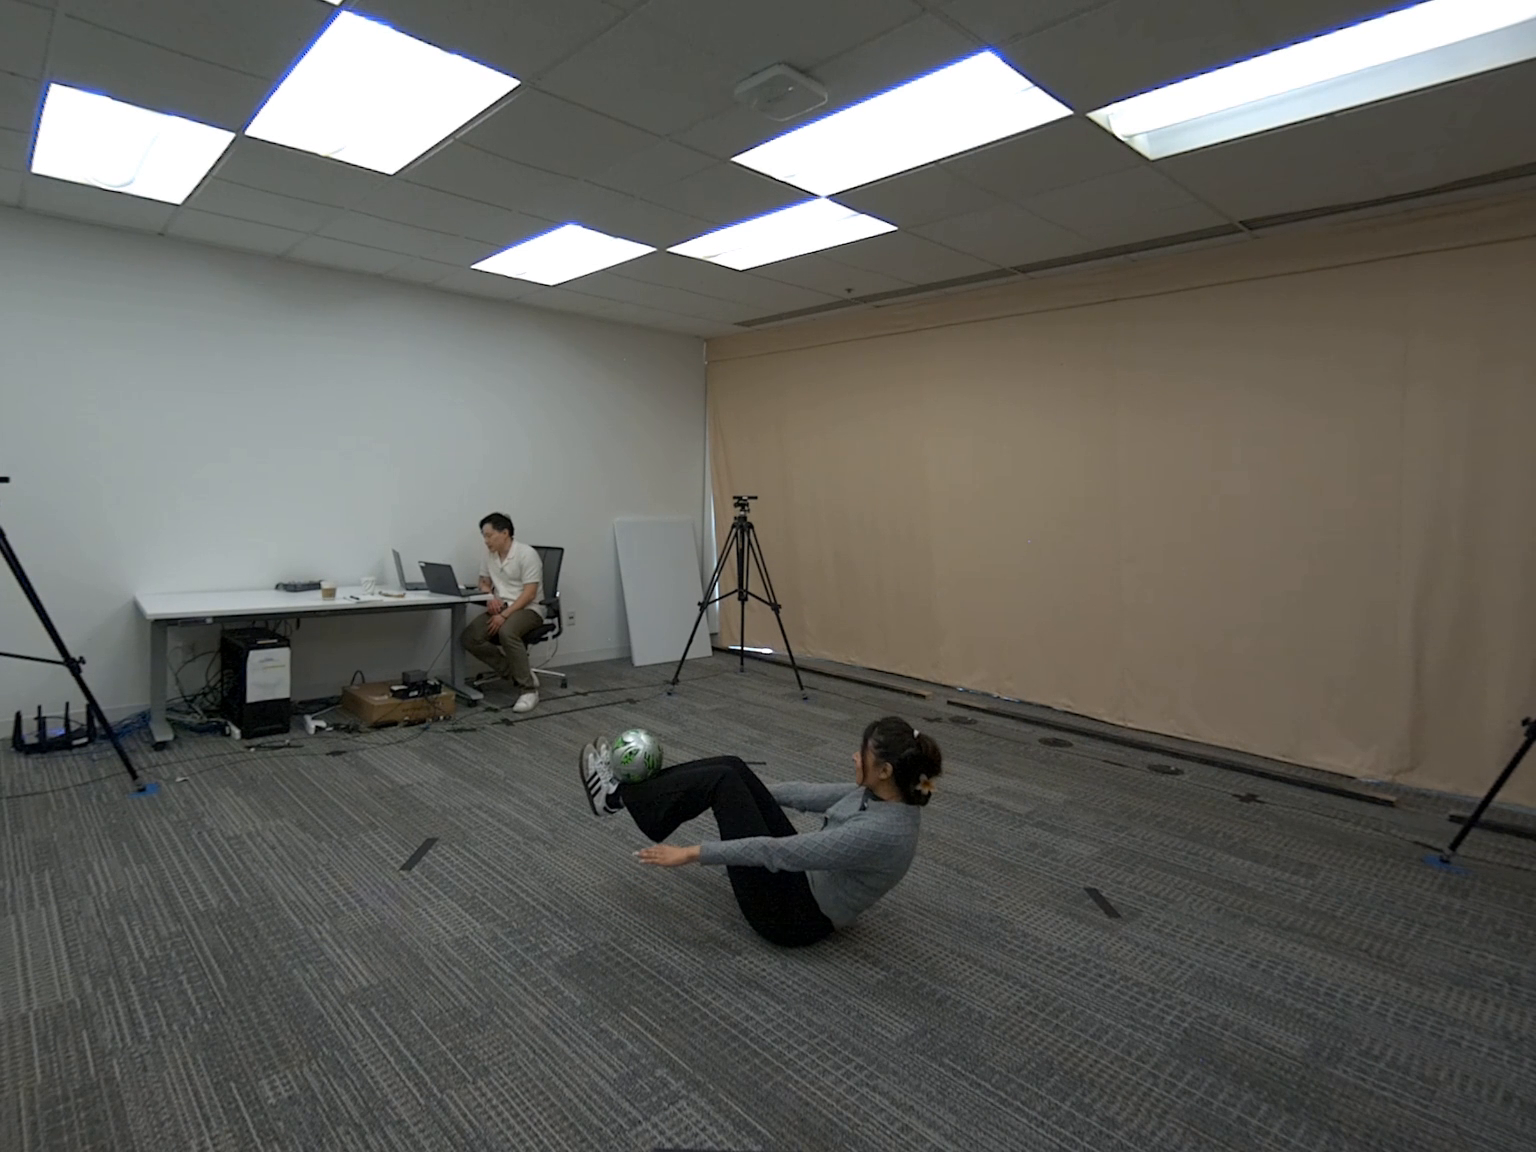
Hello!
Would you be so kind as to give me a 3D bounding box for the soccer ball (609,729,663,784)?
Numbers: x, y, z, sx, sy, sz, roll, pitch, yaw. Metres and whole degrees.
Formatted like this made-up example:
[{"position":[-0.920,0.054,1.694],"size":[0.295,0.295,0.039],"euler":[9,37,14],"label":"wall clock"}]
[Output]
[{"position":[-0.466,0.628,2.901],"size":[0.187,0.187,0.188],"euler":[1,4,-1],"label":"soccer ball"}]
